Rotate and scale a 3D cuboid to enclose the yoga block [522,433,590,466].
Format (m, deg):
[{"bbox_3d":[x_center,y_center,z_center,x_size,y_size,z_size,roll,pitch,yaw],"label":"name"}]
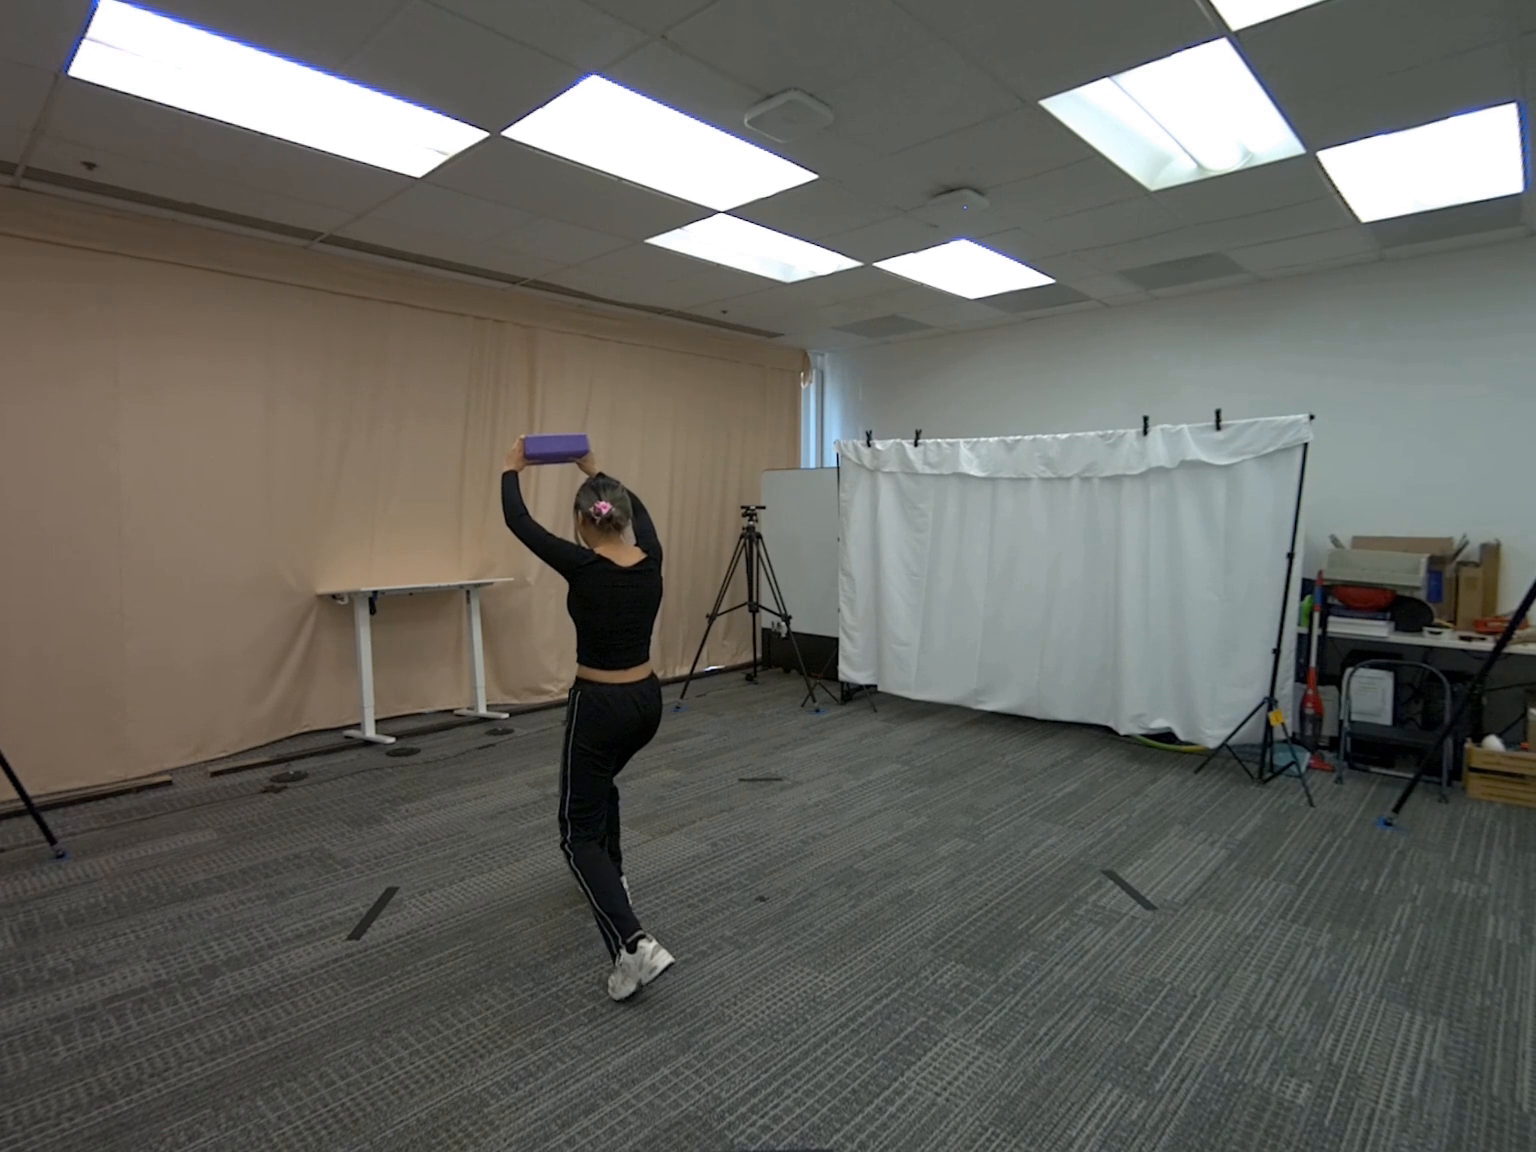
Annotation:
[{"bbox_3d":[-0.777,-0.455,3.014,0.224,0.077,0.152,-7,-4,-29],"label":"yoga block"}]
